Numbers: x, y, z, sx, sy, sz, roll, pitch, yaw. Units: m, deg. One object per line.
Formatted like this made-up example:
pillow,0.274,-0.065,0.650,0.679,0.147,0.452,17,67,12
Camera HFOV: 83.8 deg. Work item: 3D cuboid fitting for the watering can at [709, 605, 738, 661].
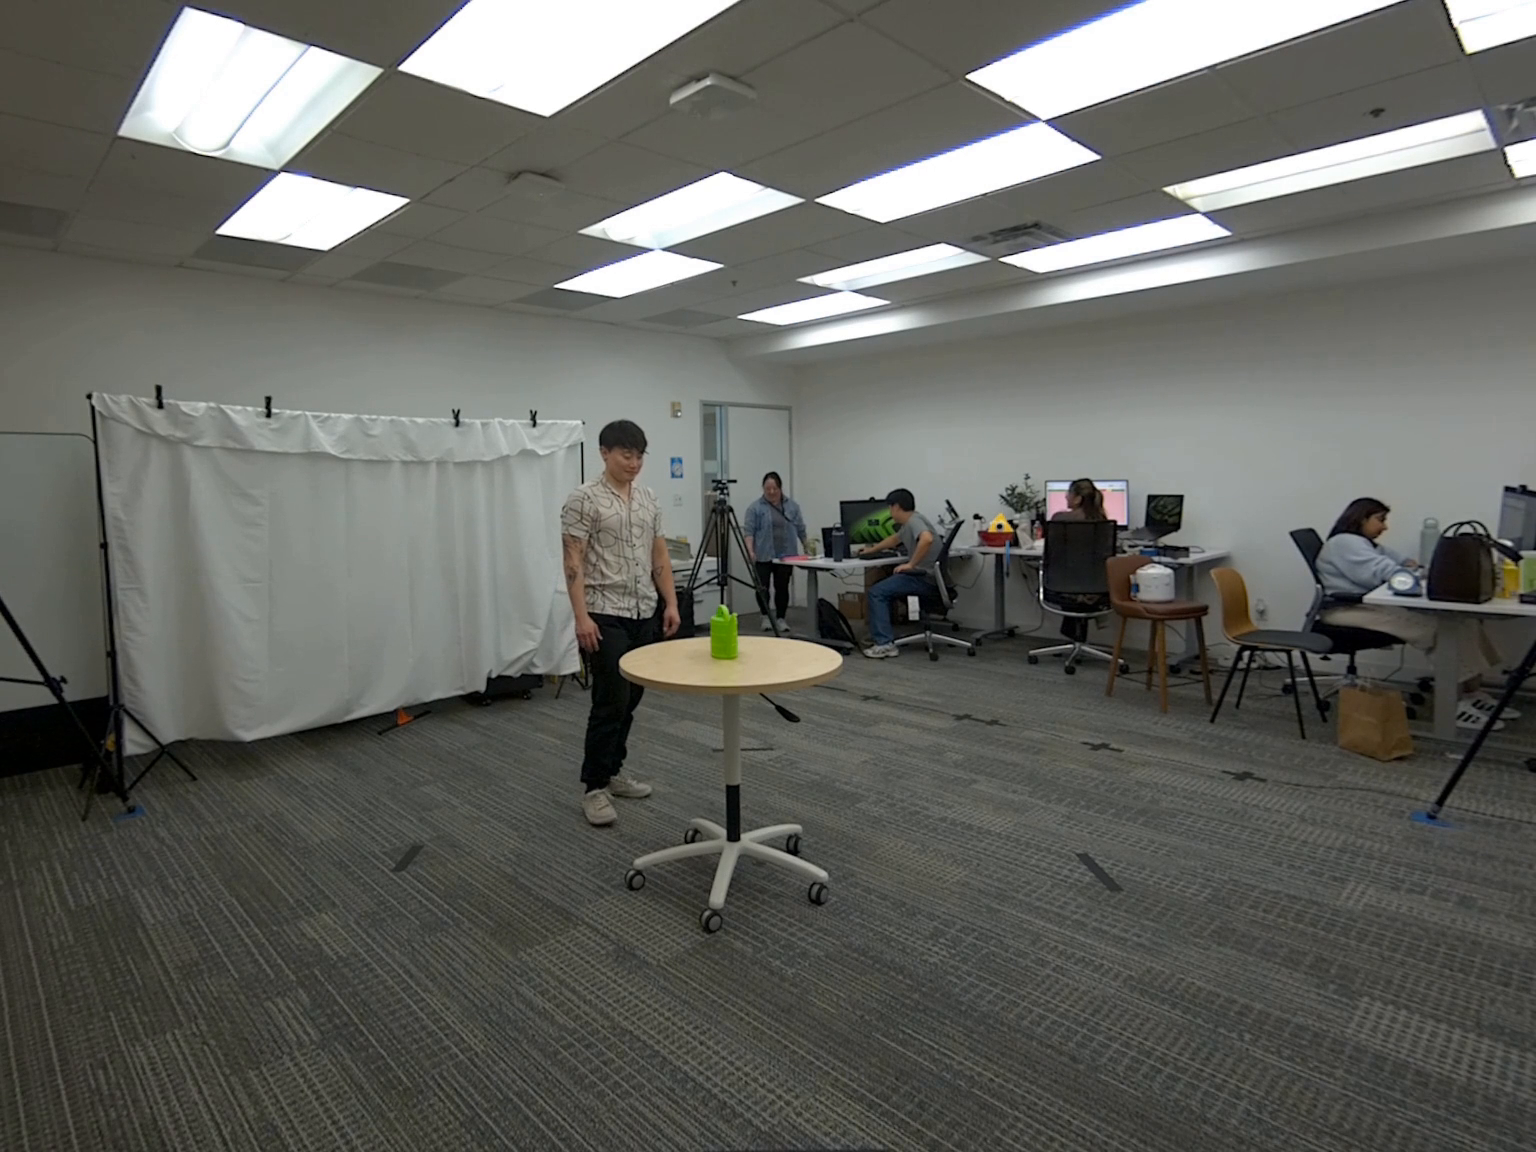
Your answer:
watering can,-0.152,0.204,2.935,0.098,0.176,0.279,-4,6,1
